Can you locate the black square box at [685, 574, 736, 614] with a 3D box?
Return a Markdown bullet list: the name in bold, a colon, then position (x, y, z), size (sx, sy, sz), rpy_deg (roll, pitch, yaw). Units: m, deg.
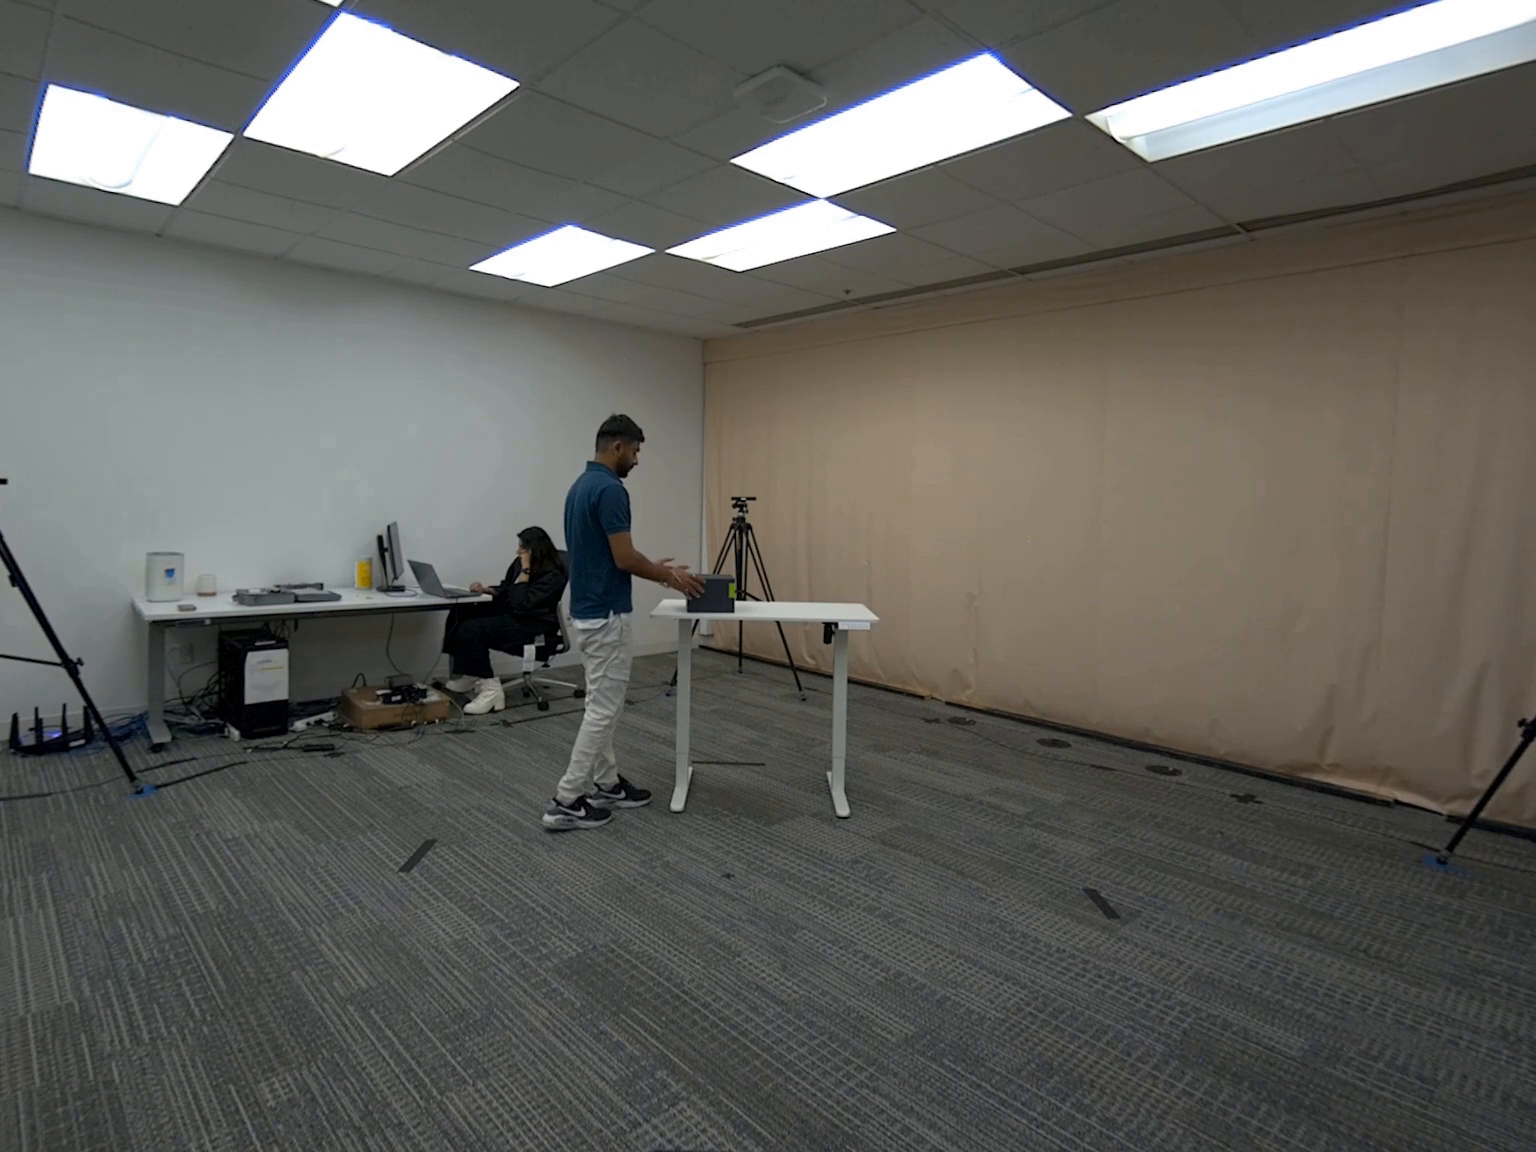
- **black square box**: position (-0.262, 0.078, 3.878), size (0.217, 0.156, 0.228), rpy_deg (1, 2, -2)
